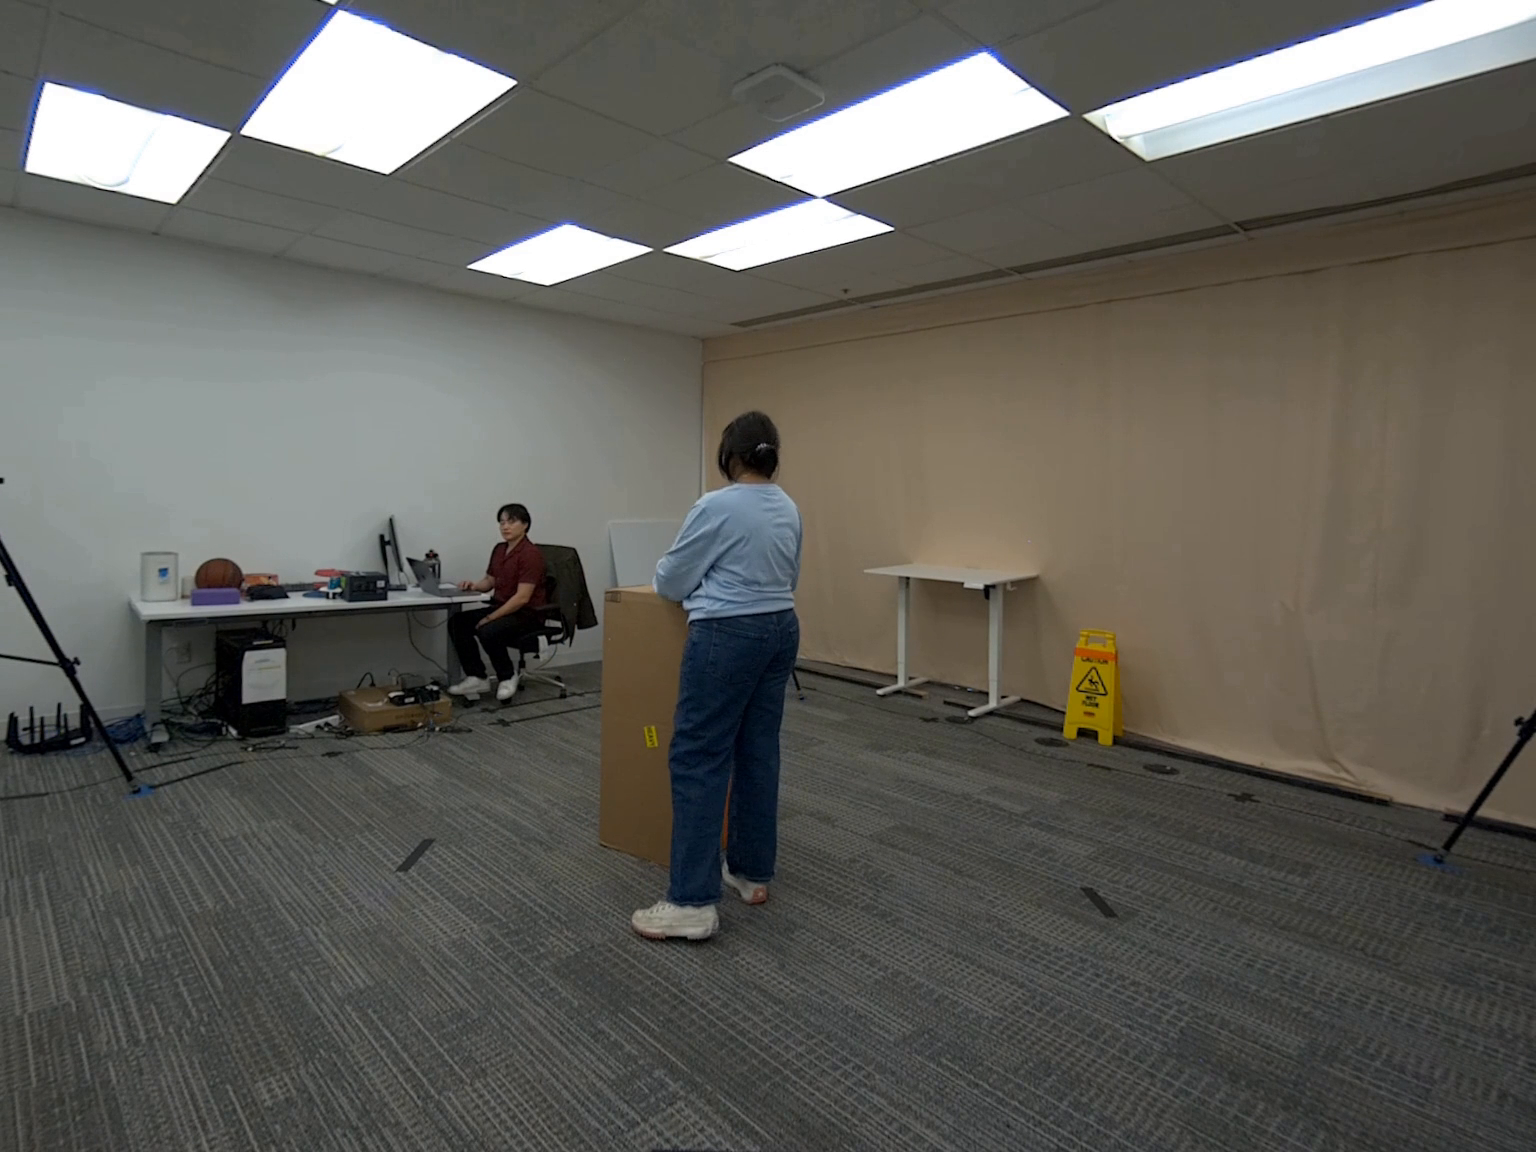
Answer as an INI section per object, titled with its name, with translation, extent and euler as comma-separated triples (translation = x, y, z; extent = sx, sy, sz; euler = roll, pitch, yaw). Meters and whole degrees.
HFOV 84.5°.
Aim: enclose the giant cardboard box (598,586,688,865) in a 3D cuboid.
[giant cardboard box]
translation = -0.341, 0.563, 3.459
extent = 0.457, 1.025, 0.572
euler = 3, 3, 31
